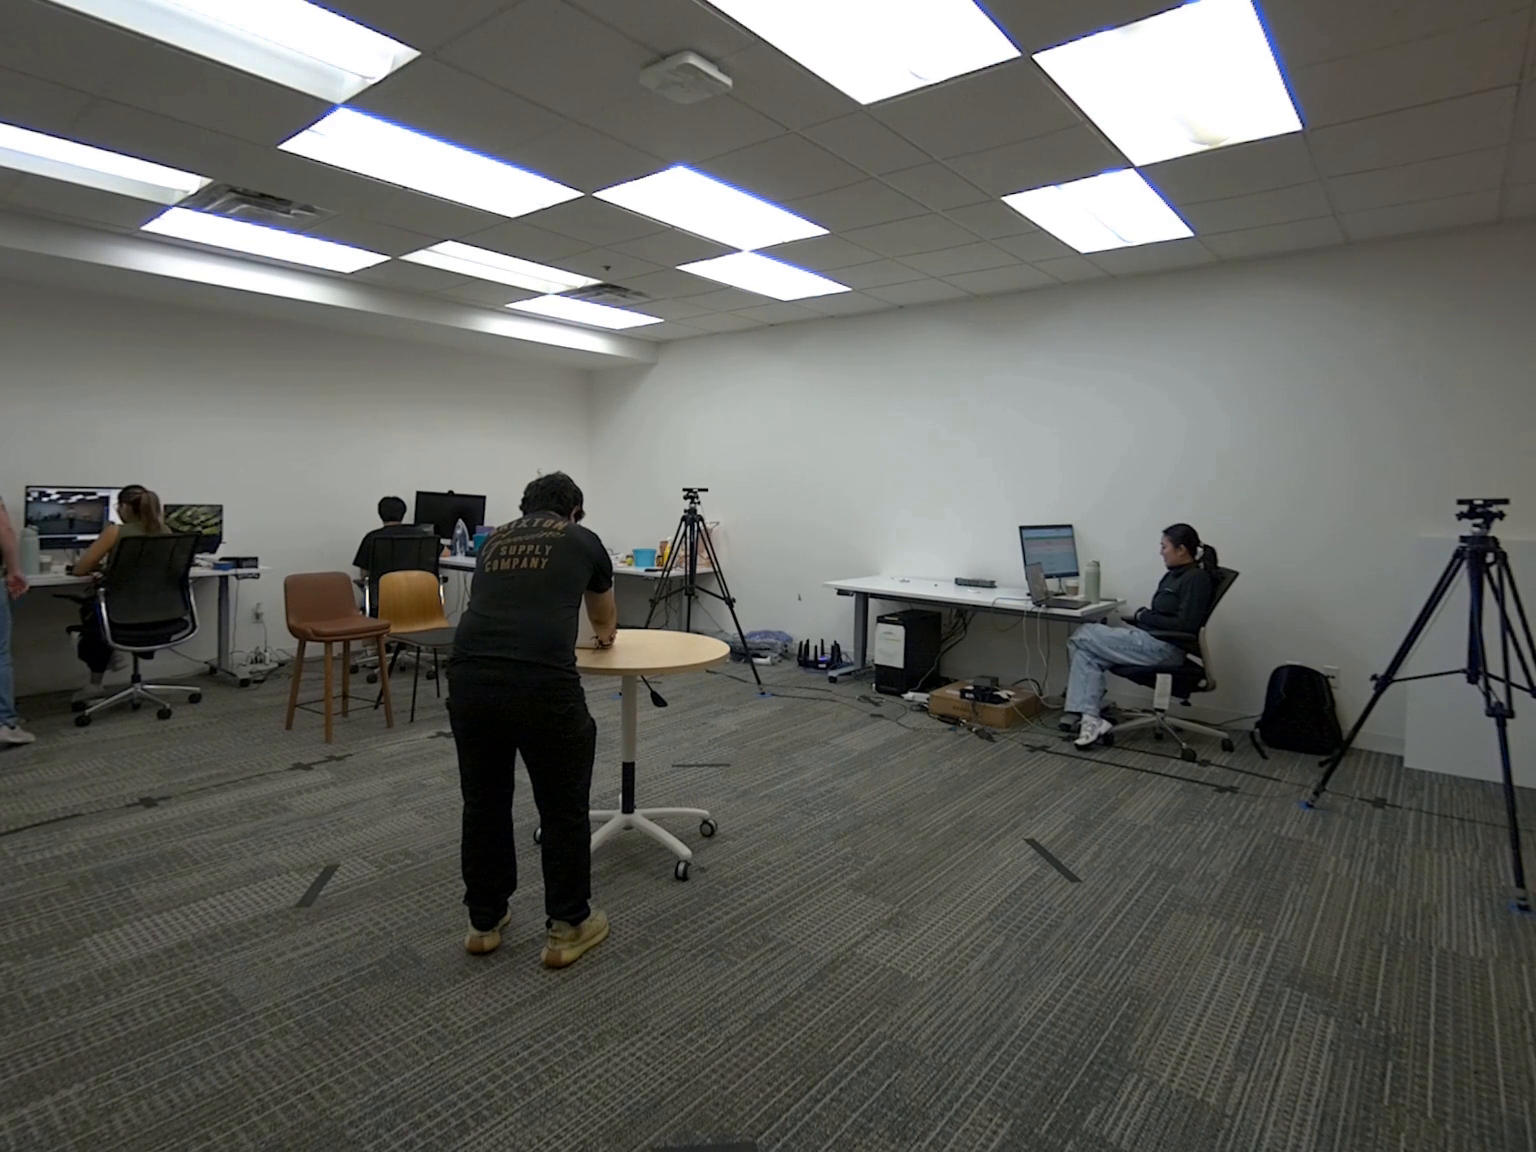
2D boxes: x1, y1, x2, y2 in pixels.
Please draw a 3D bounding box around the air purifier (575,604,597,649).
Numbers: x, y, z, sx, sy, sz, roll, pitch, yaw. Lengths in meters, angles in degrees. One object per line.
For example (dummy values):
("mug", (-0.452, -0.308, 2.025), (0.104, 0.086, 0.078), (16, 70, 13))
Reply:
("air purifier", (-0.691, 0.129, 3.248), (0.173, 0.264, 0.170), (1, 4, 9))
